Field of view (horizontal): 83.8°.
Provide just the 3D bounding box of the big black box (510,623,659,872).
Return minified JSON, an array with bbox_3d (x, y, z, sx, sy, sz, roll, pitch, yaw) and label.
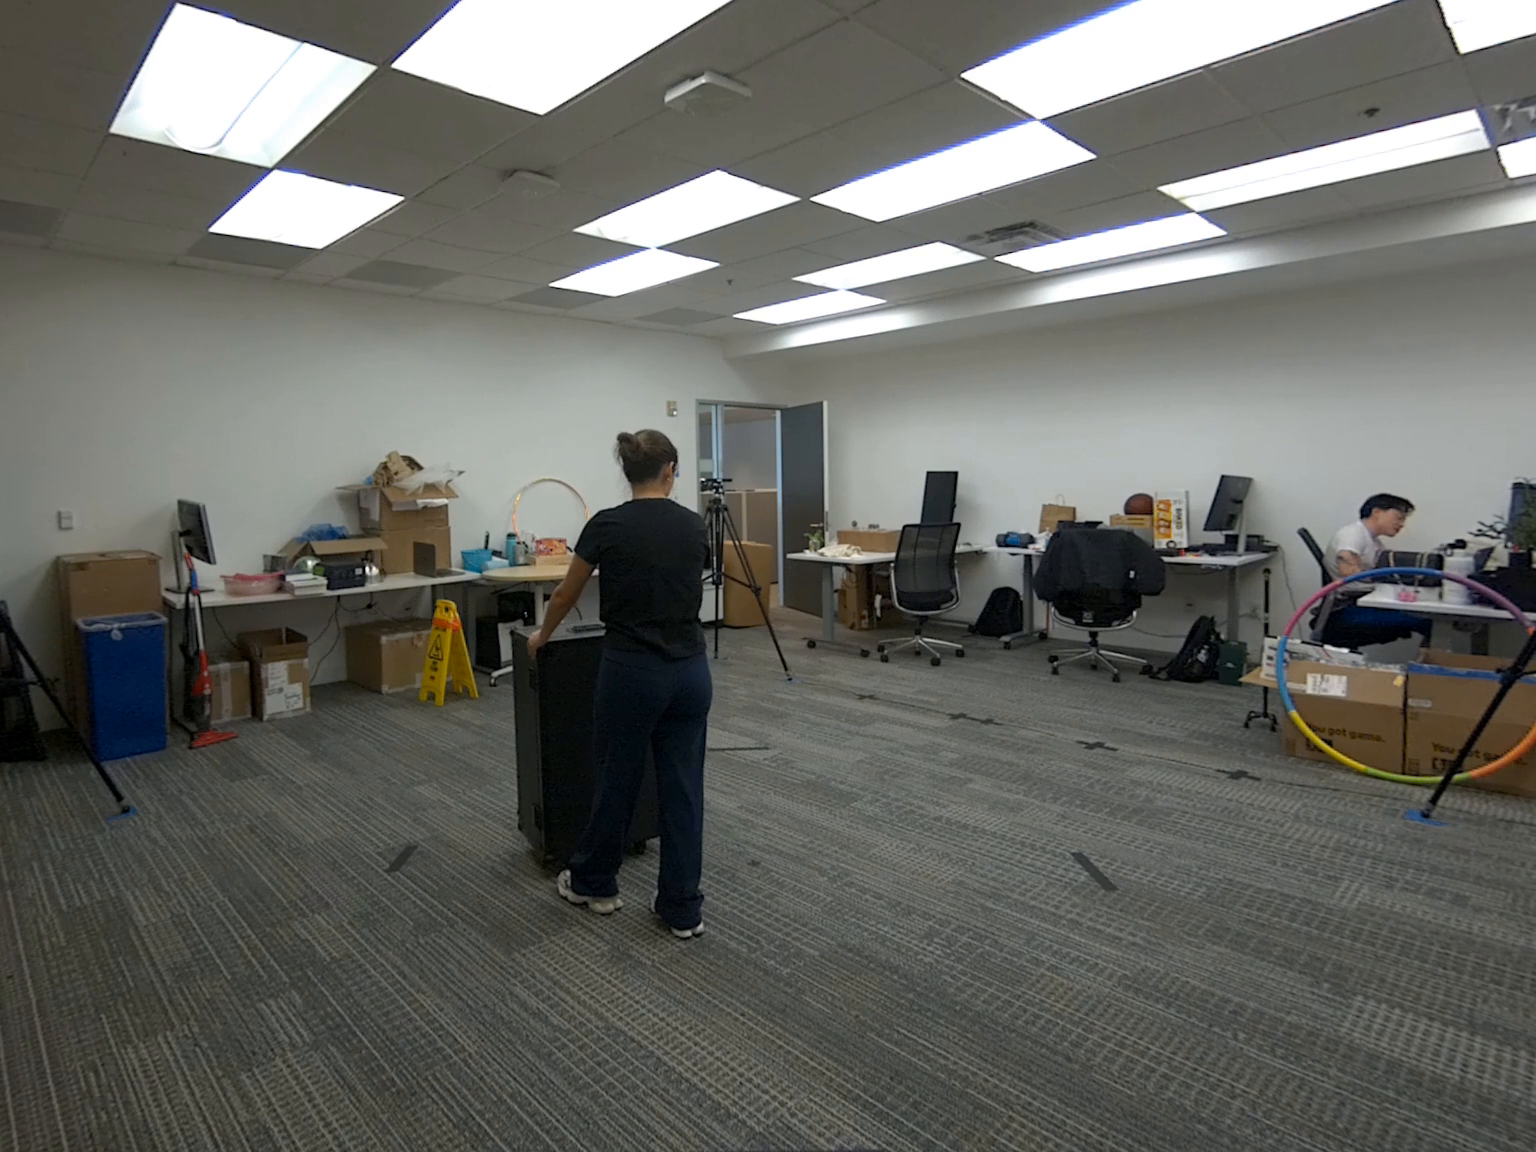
[{"bbox_3d":[-0.685,0.616,3.232,0.509,0.859,0.406,-3,3,-29],"label":"big black box"}]
